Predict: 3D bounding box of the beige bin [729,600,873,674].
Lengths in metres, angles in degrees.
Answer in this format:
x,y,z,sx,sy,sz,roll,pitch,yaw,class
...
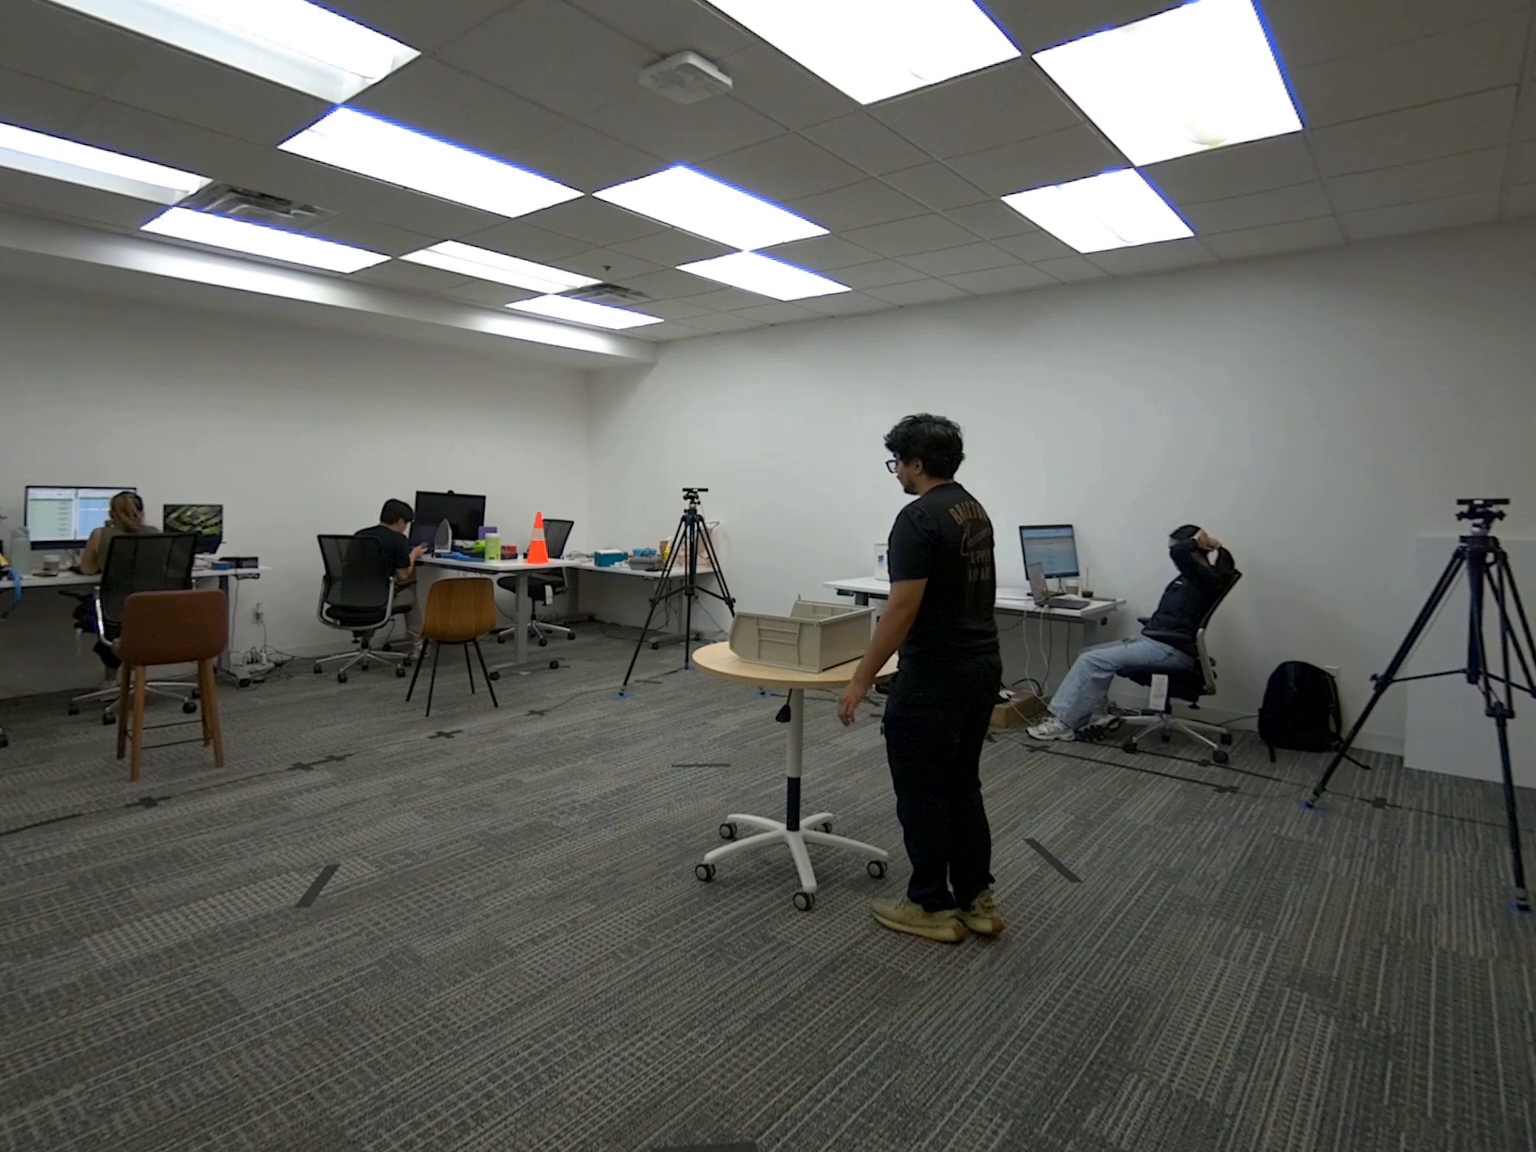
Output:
x,y,z,sx,sy,sz,roll,pitch,yaw,class
0.117,0.206,3.099,0.389,0.188,0.411,6,8,33,beige bin
